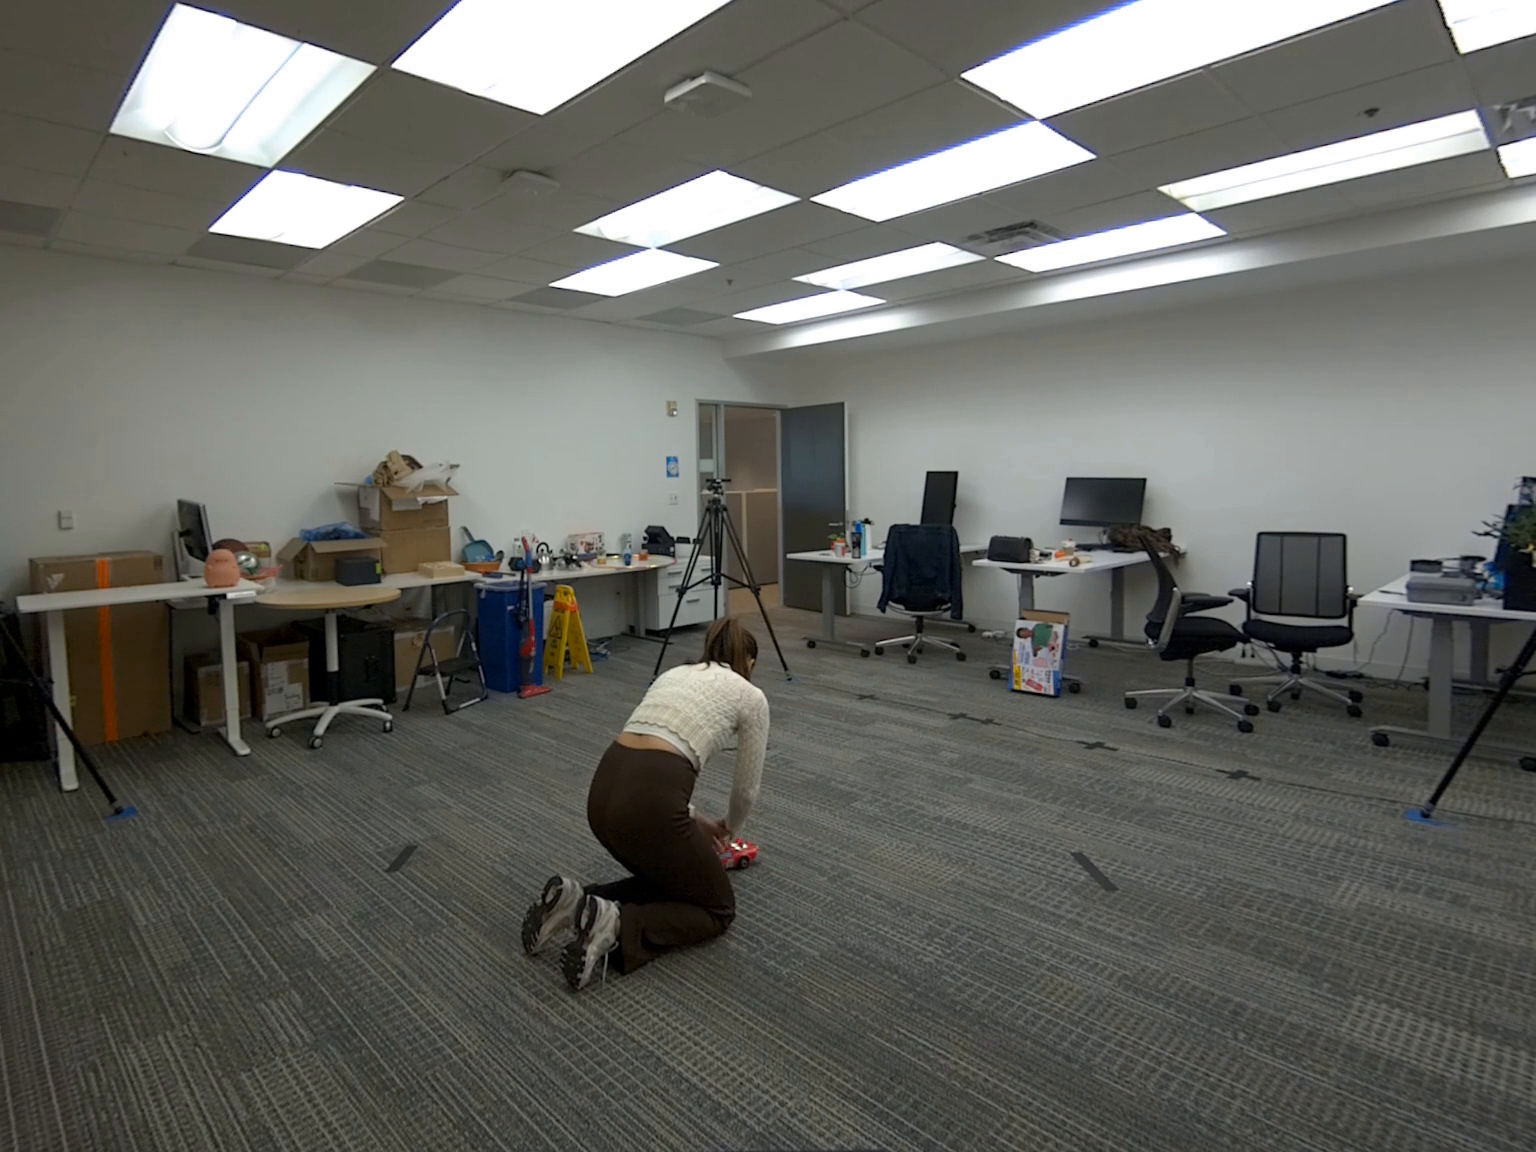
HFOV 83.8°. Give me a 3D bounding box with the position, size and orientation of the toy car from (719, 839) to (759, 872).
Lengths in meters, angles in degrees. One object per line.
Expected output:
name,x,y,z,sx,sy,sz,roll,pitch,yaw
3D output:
toy car,-0.151,1.012,3.086,0.251,0.082,0.133,-17,11,-22
